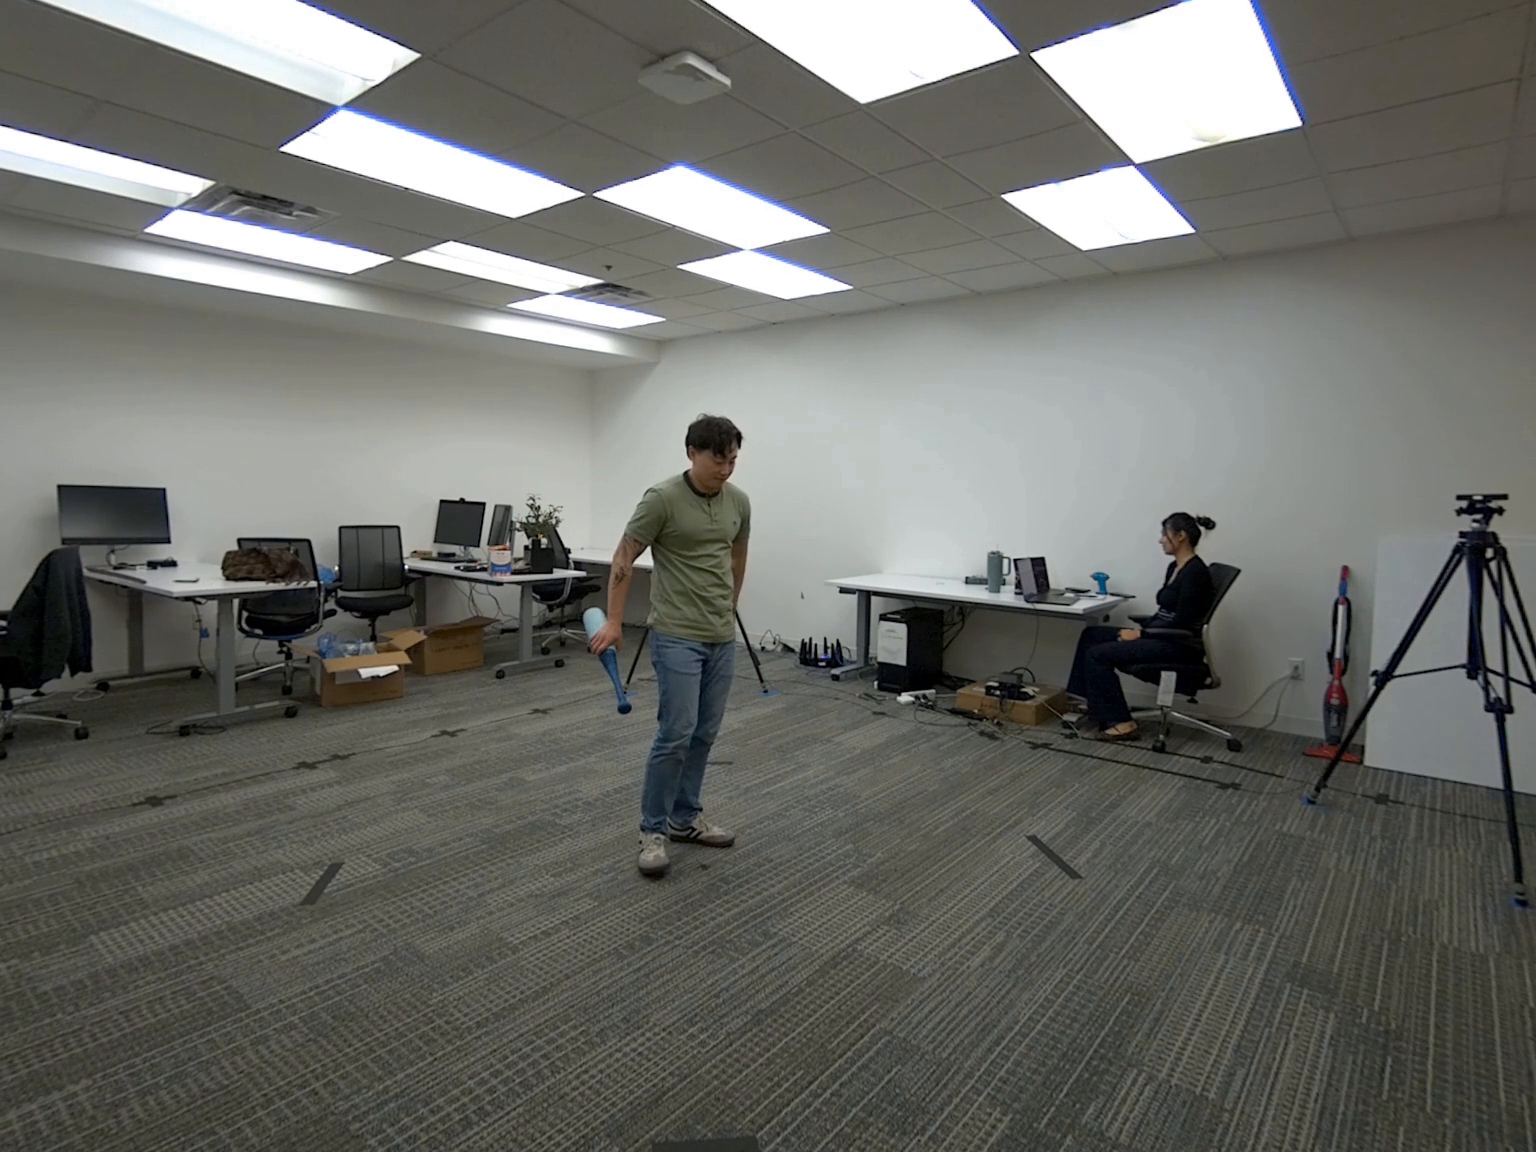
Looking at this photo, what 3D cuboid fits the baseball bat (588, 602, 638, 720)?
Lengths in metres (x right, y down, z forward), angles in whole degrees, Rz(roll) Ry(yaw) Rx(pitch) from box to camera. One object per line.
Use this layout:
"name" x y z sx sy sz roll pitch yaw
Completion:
"baseball bat" -0.588 0.300 3.138 0.087 0.087 0.564 -1 35 -20
